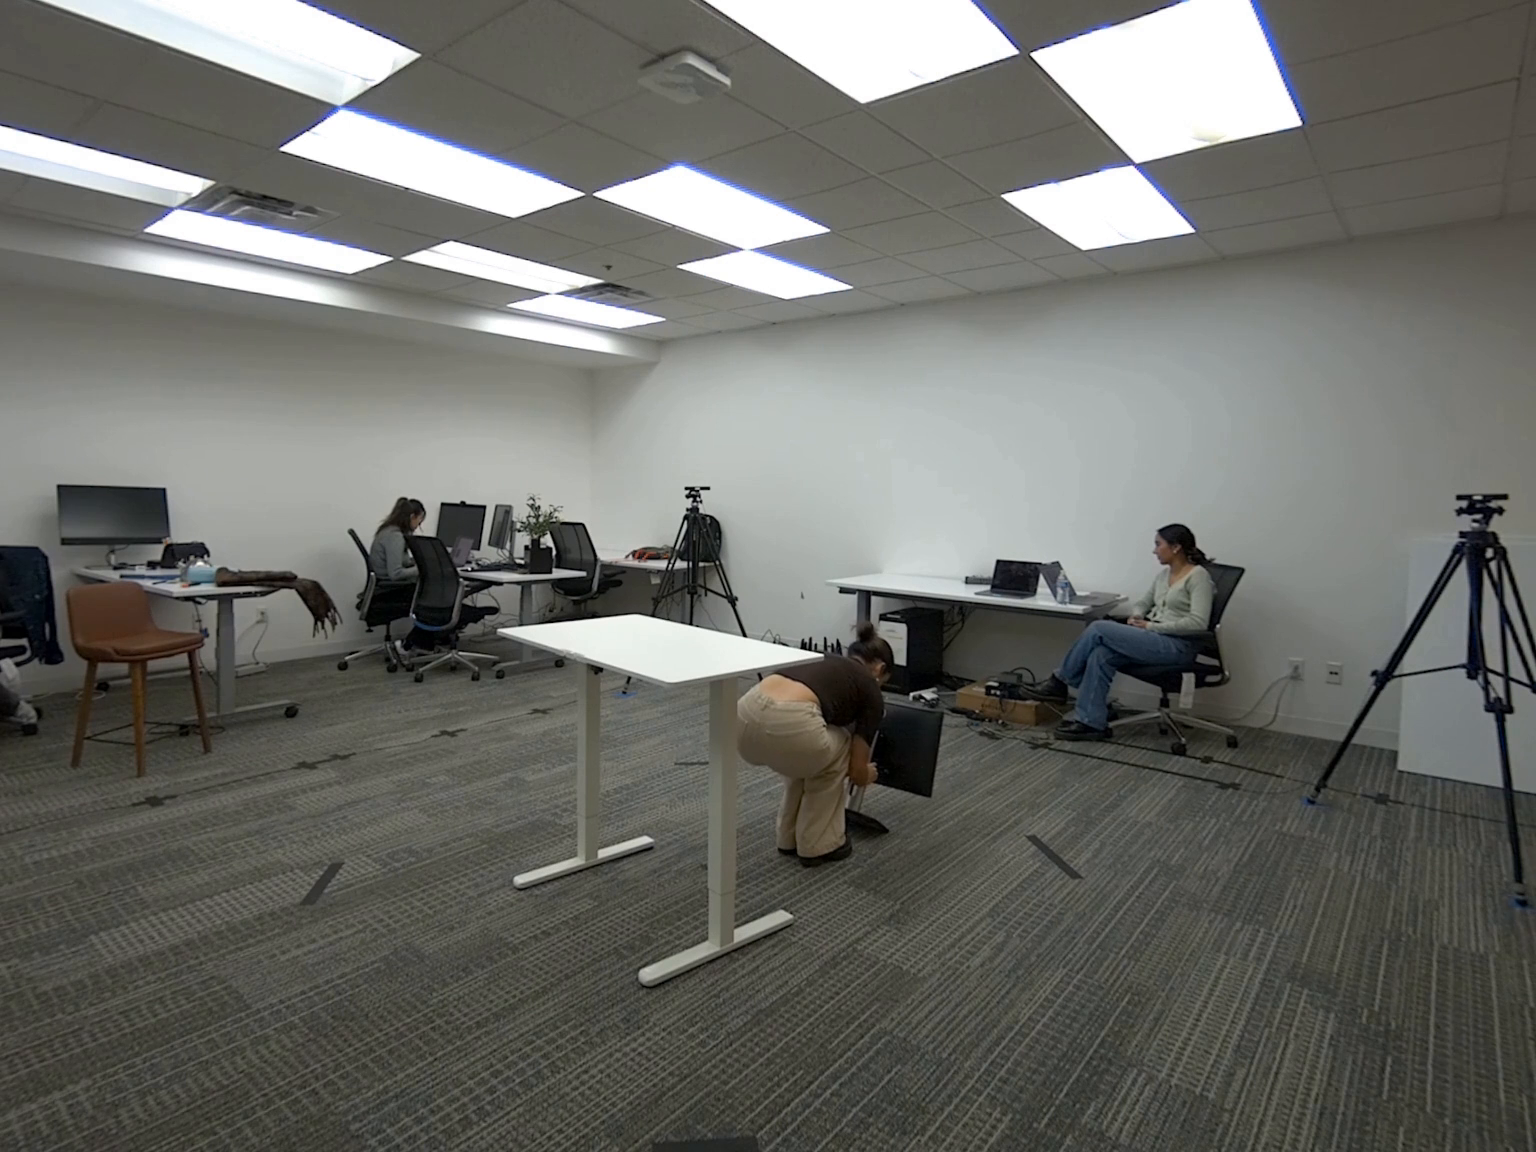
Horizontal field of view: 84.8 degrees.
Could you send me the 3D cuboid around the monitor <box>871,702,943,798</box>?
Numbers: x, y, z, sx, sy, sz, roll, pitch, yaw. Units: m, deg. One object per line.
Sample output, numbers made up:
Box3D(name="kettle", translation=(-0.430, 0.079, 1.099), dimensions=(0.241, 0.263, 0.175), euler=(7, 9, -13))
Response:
Box3D(name="monitor", translation=(0.431, 0.762, 3.590), dimensions=(0.557, 0.528, 0.179), euler=(5, -25, 35))
